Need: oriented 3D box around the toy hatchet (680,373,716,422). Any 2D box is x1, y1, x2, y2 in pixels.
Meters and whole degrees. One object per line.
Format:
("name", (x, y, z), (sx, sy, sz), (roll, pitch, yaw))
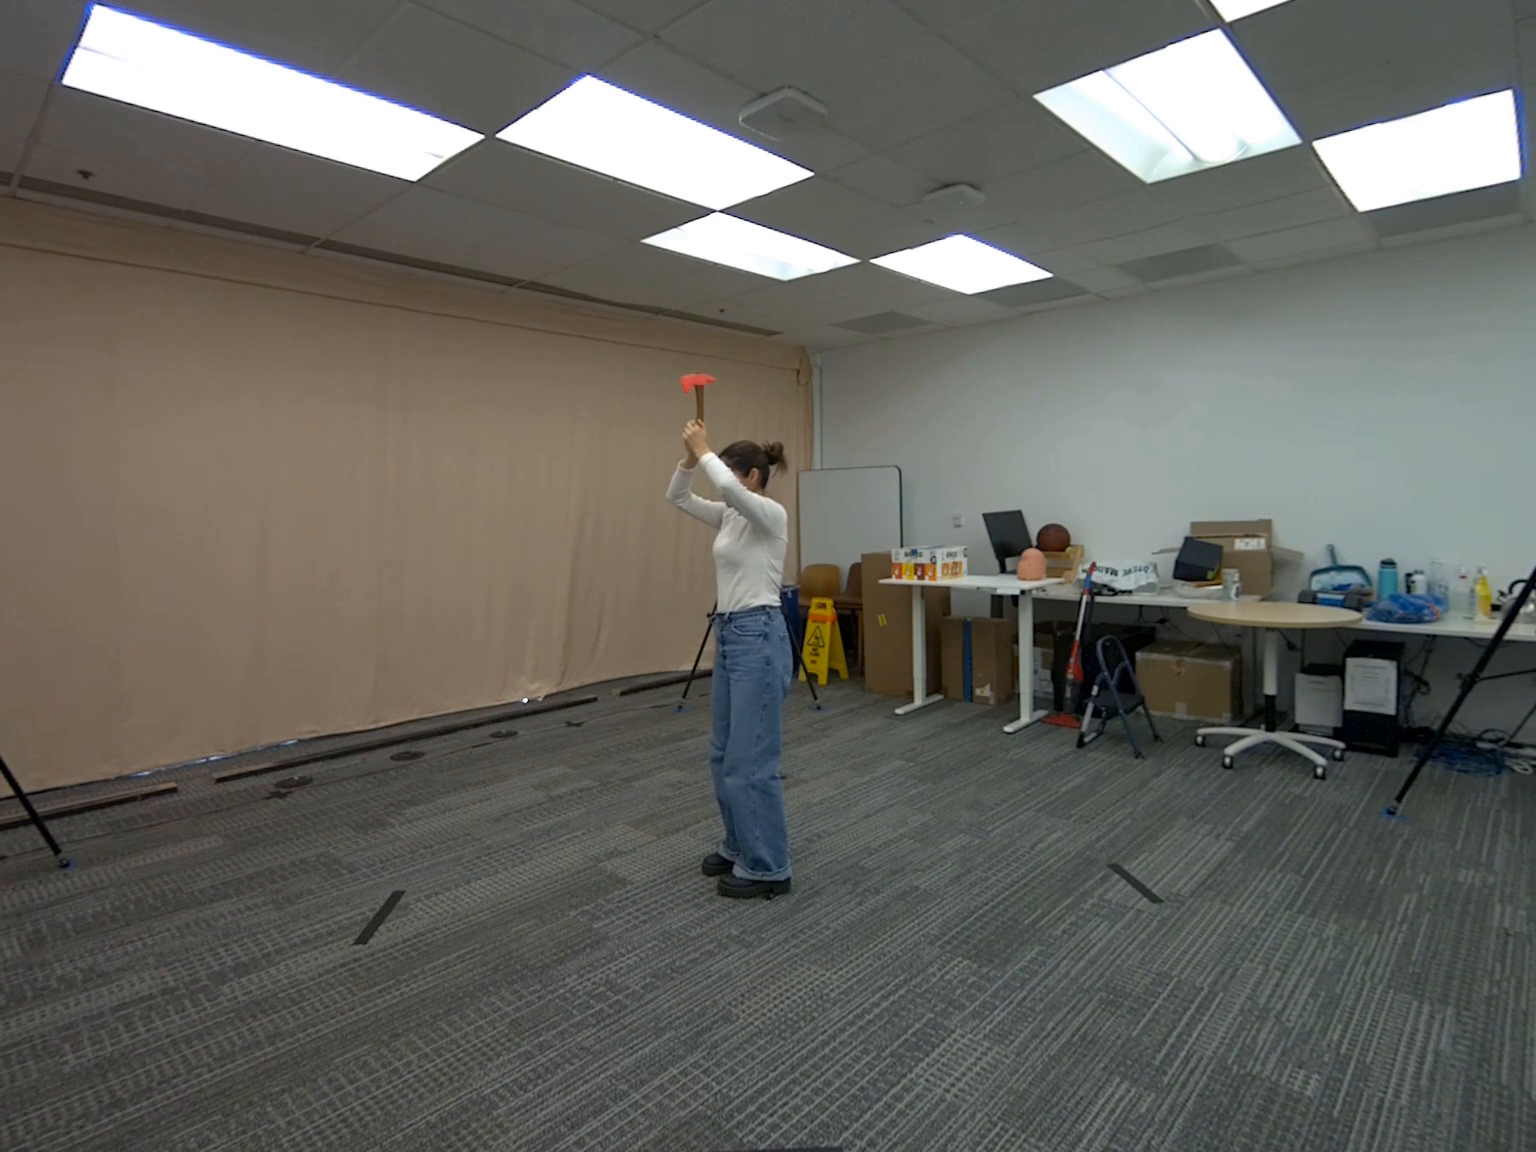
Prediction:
("toy hatchet", (-0.271, -0.613, 3.032), (0.128, 0.270, 0.030), (16, -6, -20))
